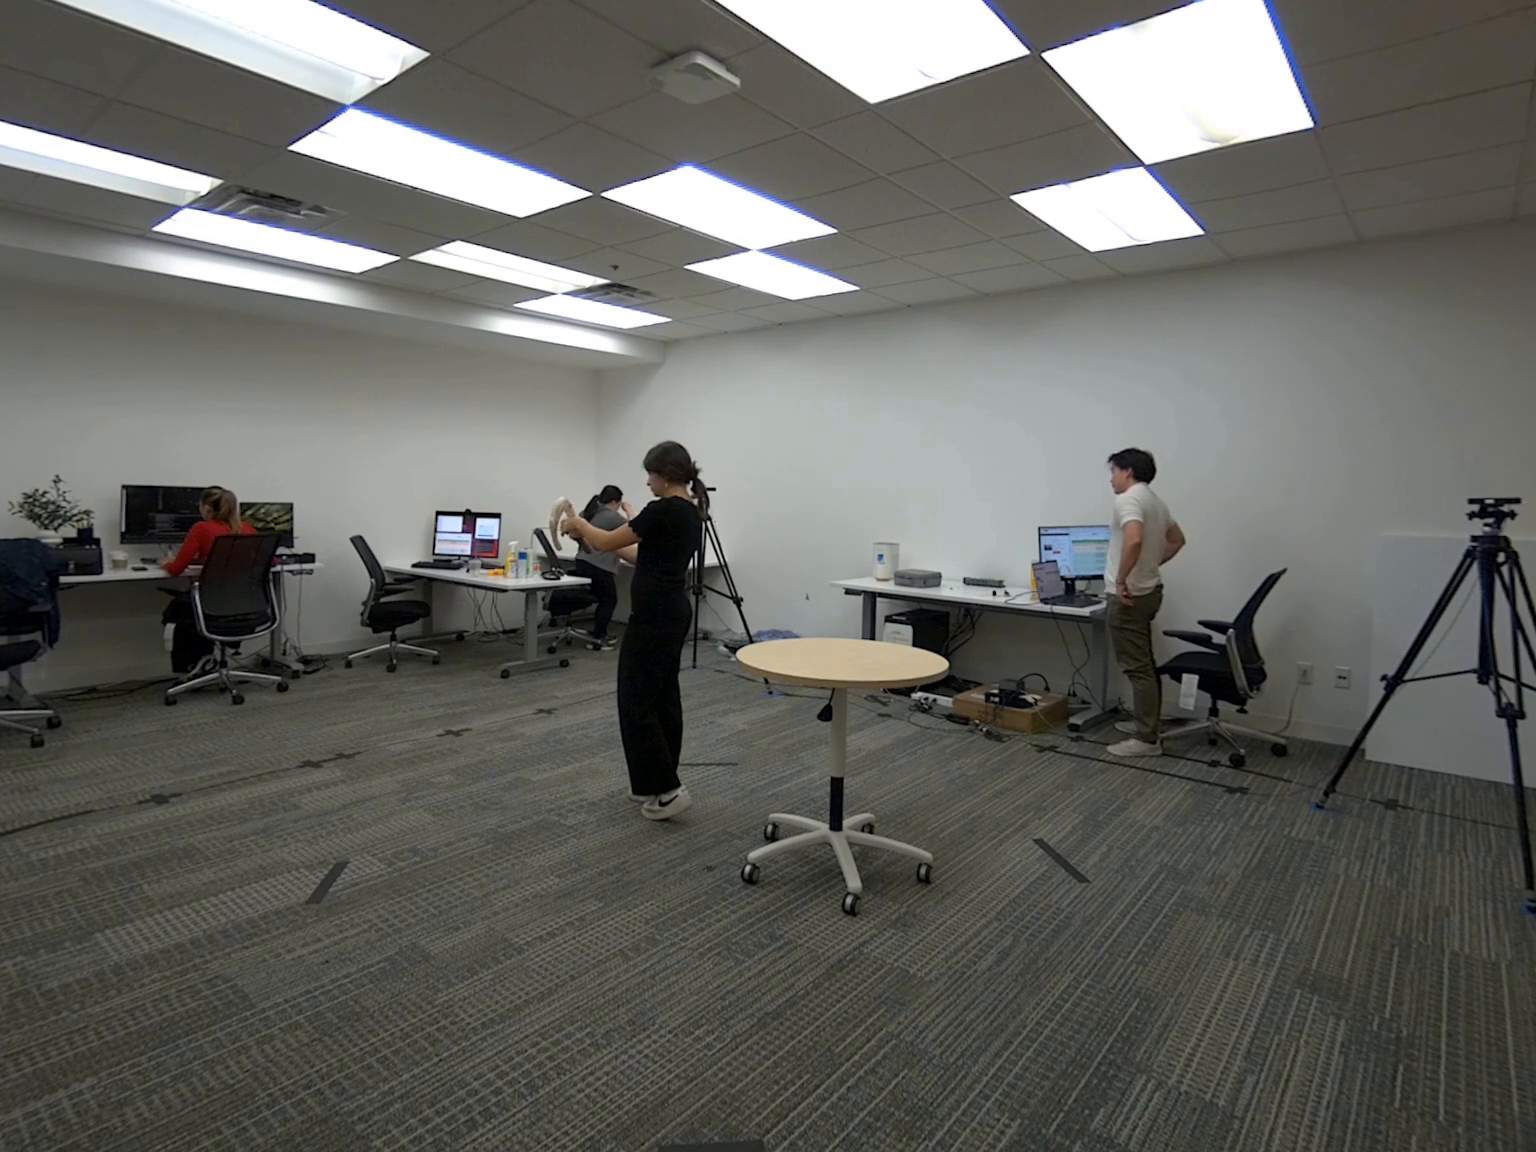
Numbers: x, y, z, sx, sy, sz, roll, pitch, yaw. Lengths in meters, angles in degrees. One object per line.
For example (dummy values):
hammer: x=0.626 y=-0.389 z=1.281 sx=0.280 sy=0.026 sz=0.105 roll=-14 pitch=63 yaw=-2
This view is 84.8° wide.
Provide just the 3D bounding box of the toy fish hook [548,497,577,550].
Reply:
toy fish hook: x=-0.921 y=-0.178 z=3.877 sx=0.049 sy=0.227 sz=0.491 roll=12 pitch=-23 yaw=13
